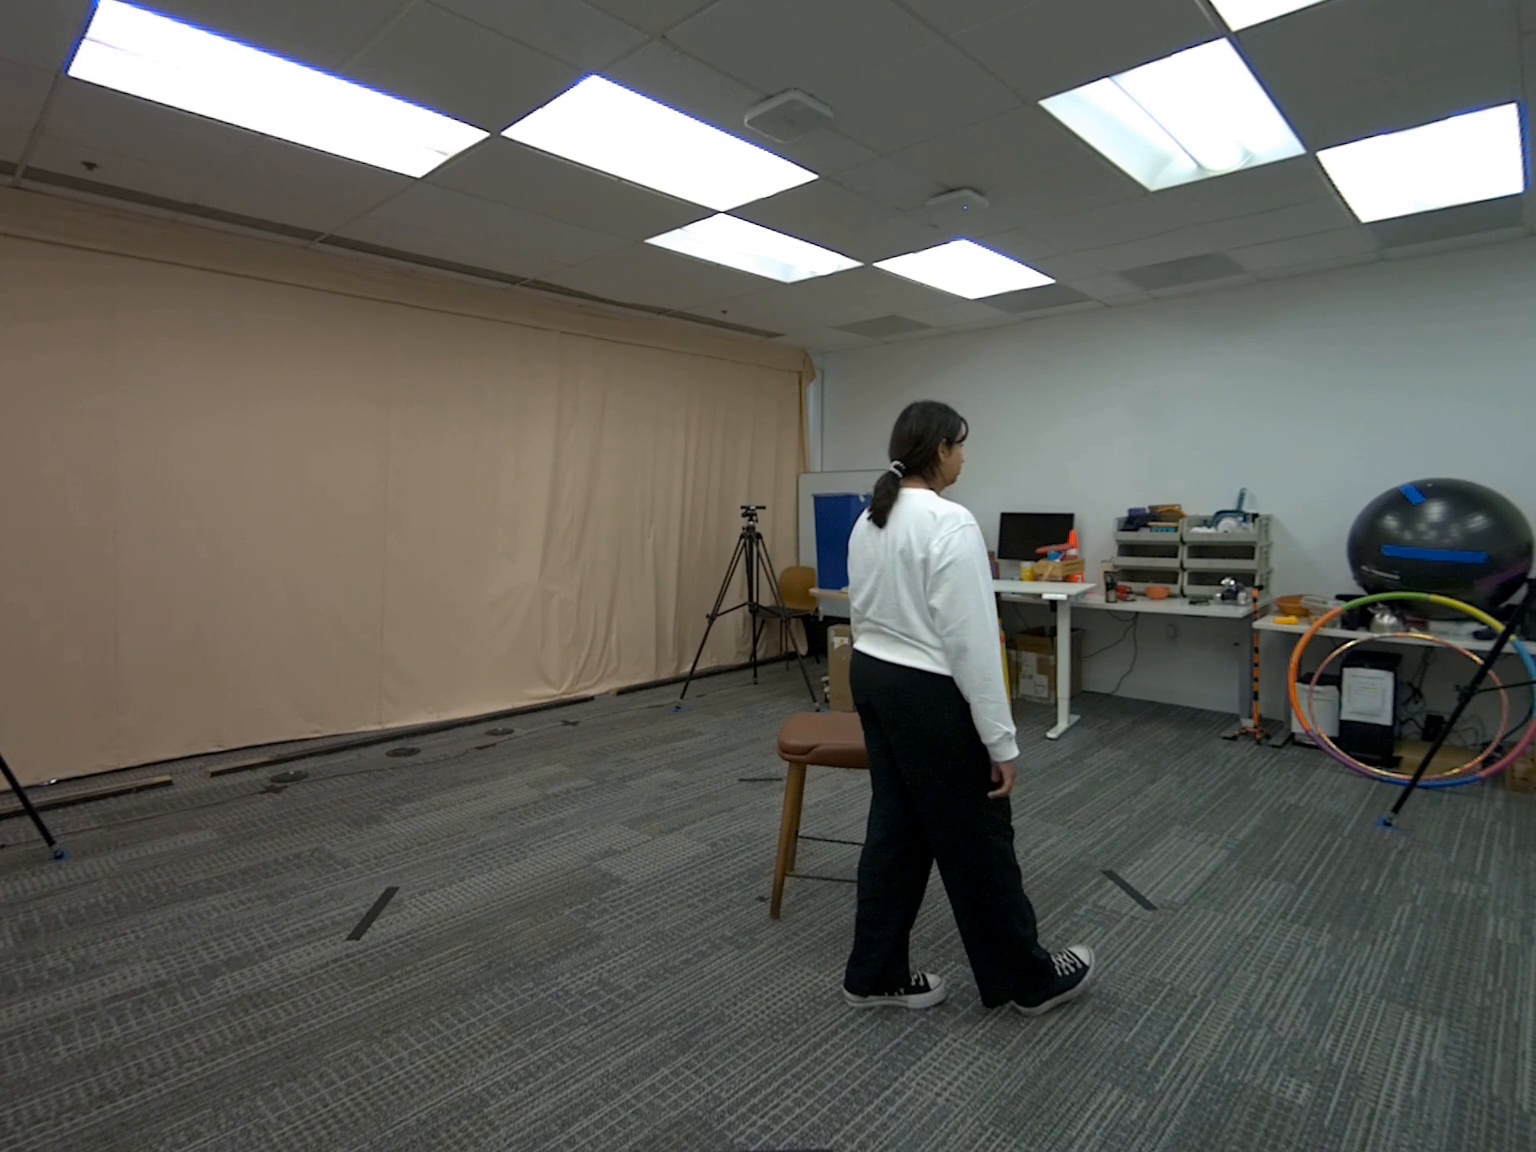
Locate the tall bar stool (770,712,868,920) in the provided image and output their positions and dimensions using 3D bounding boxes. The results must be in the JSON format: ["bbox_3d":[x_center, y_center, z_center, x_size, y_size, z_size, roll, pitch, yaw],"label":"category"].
[{"bbox_3d":[0.277,0.711,2.959,0.474,0.887,0.451,3,4,12],"label":"tall bar stool"}]
